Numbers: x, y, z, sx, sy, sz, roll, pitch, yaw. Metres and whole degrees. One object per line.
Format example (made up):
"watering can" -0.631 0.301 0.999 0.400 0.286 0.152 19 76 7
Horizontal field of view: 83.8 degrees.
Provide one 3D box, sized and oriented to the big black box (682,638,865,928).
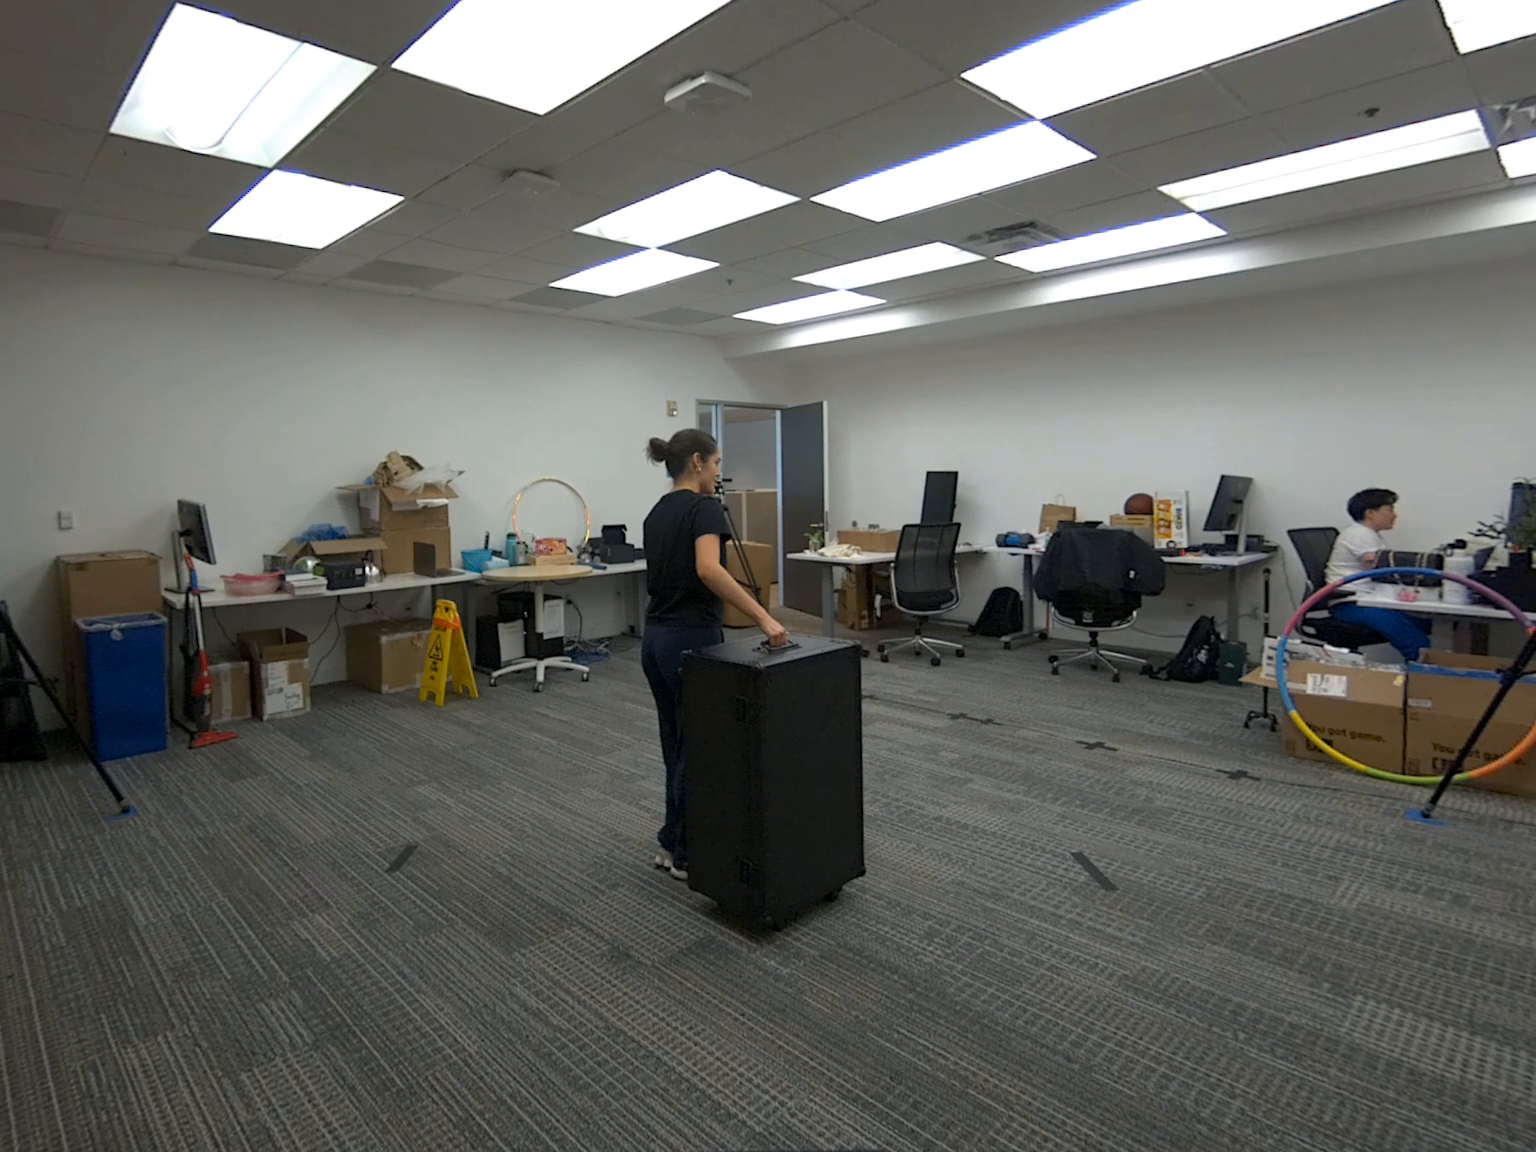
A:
"big black box" 0.013 0.655 2.808 0.507 0.859 0.408 -5 5 -45
